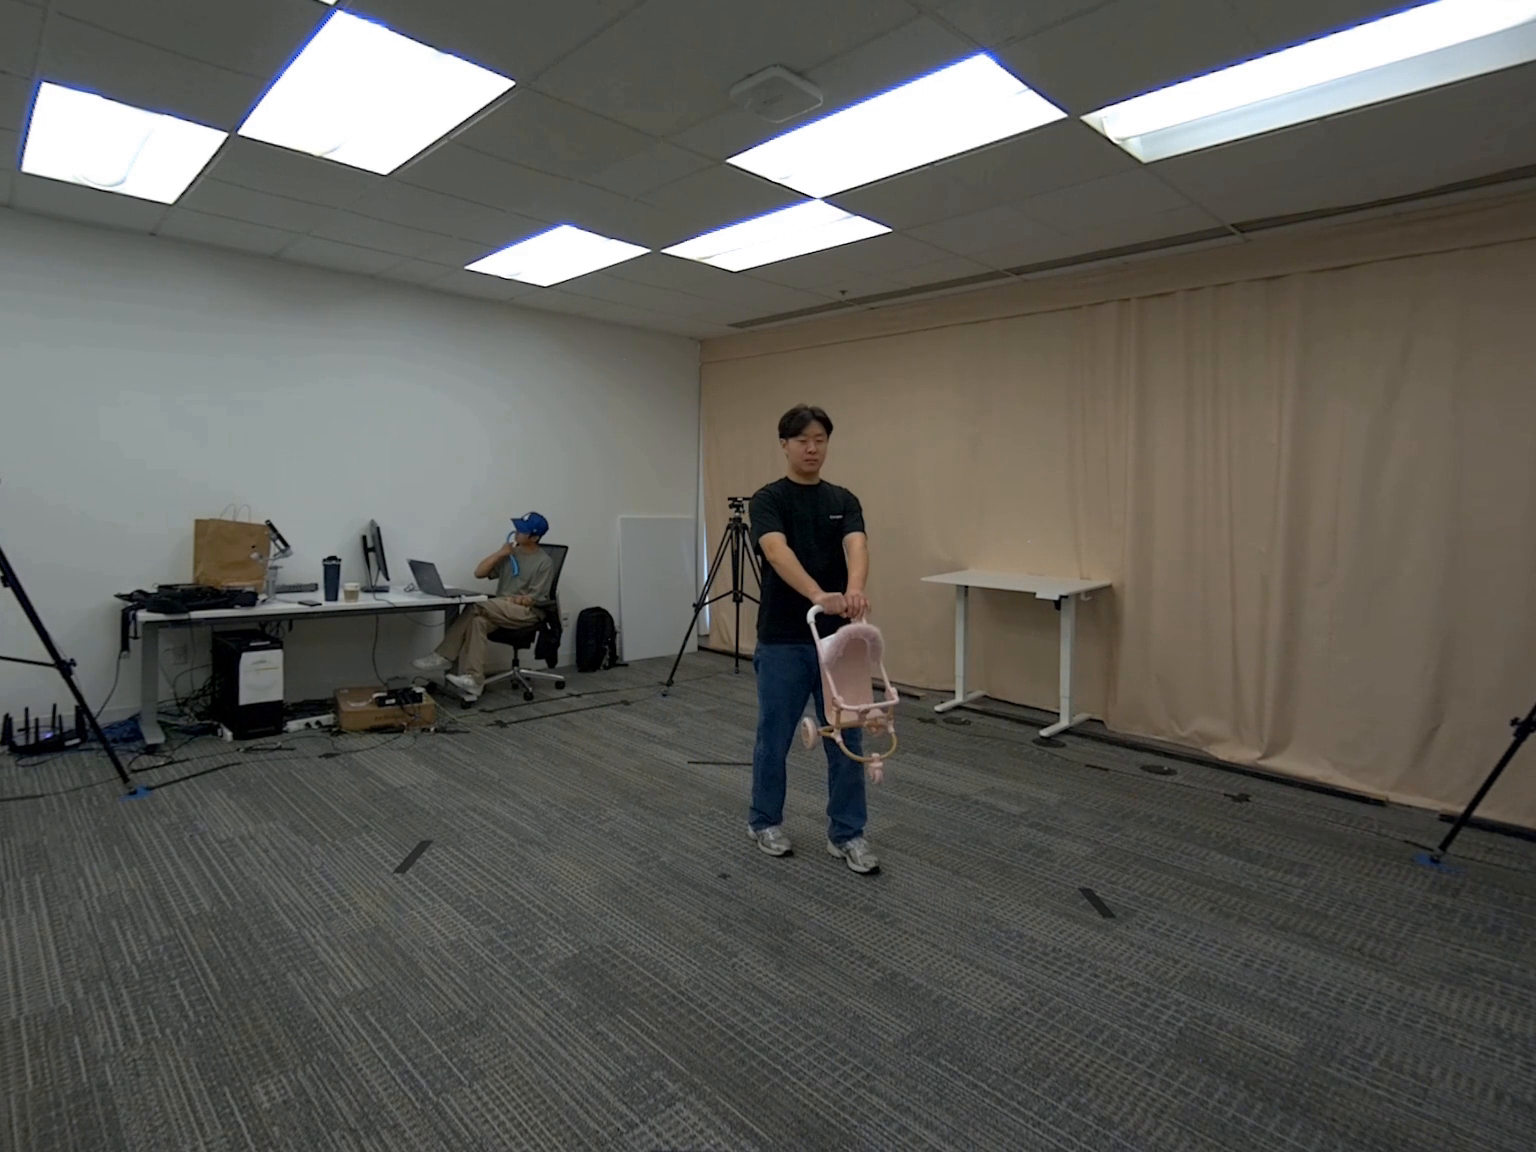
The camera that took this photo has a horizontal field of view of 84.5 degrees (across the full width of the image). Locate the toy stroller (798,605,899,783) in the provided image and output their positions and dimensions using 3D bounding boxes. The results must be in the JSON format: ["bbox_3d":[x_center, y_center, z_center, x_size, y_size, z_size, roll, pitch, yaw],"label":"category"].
[{"bbox_3d":[0.268,0.380,2.740,0.278,0.532,0.346,-4,7,-15],"label":"toy stroller"}]
